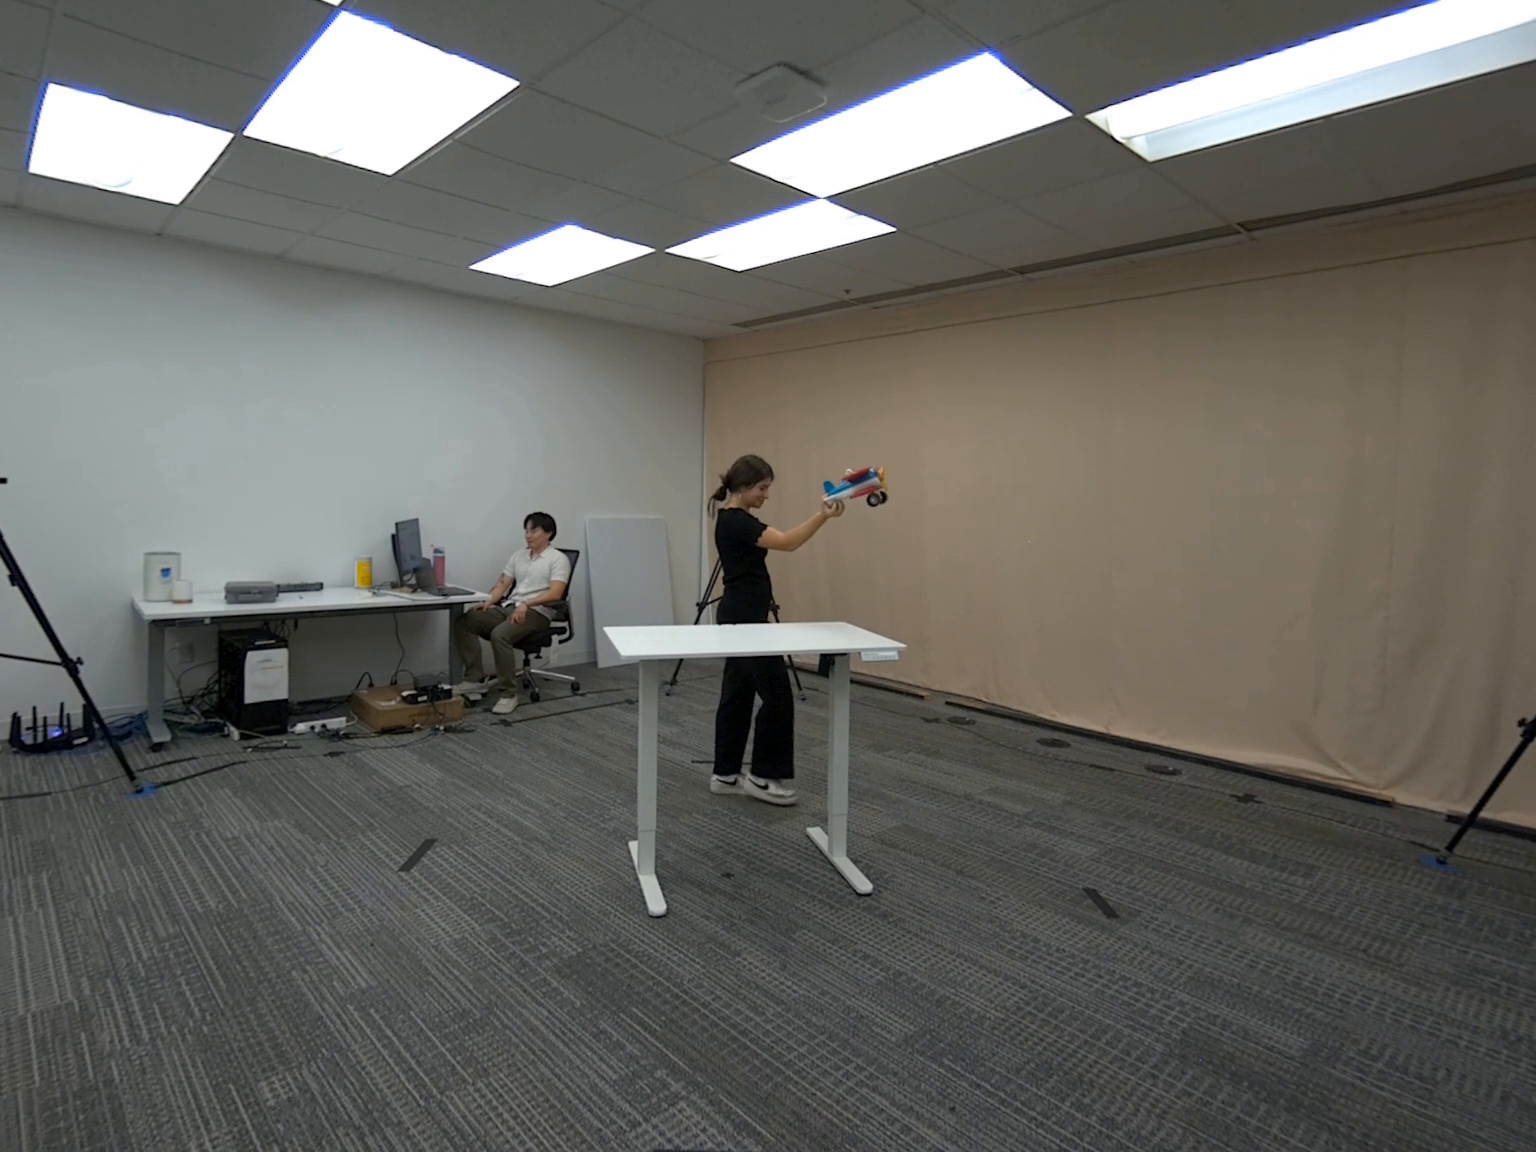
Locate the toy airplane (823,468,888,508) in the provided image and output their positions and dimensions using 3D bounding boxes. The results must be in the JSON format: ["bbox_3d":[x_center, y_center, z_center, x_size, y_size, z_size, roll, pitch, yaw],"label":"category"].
[{"bbox_3d":[0.338,-0.348,3.375,0.259,0.156,0.252,-10,7,0],"label":"toy airplane"}]
